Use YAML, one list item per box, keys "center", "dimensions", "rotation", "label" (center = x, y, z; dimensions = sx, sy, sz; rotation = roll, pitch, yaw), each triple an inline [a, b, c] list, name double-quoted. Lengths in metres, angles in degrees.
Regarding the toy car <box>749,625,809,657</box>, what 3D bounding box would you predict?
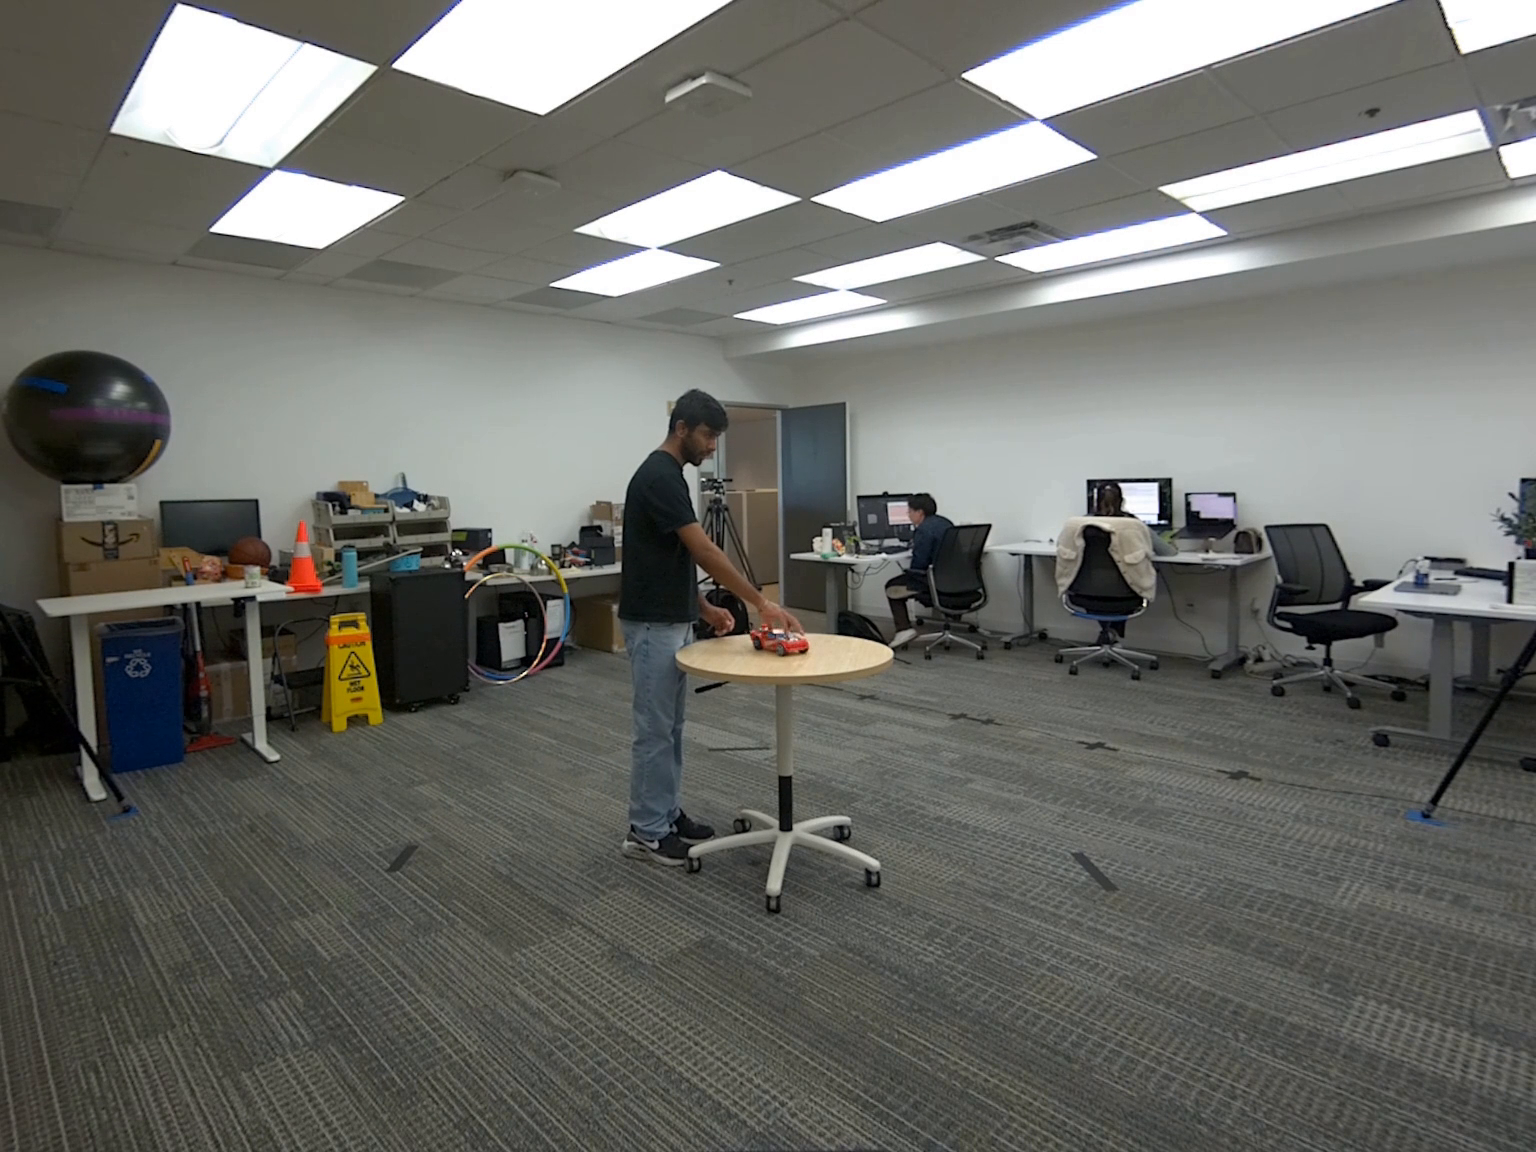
- center: [0.030, 0.233, 3.059]
  dimensions: [0.127, 0.082, 0.264]
  rotation: [-4, 17, -32]
  label: "toy car"
